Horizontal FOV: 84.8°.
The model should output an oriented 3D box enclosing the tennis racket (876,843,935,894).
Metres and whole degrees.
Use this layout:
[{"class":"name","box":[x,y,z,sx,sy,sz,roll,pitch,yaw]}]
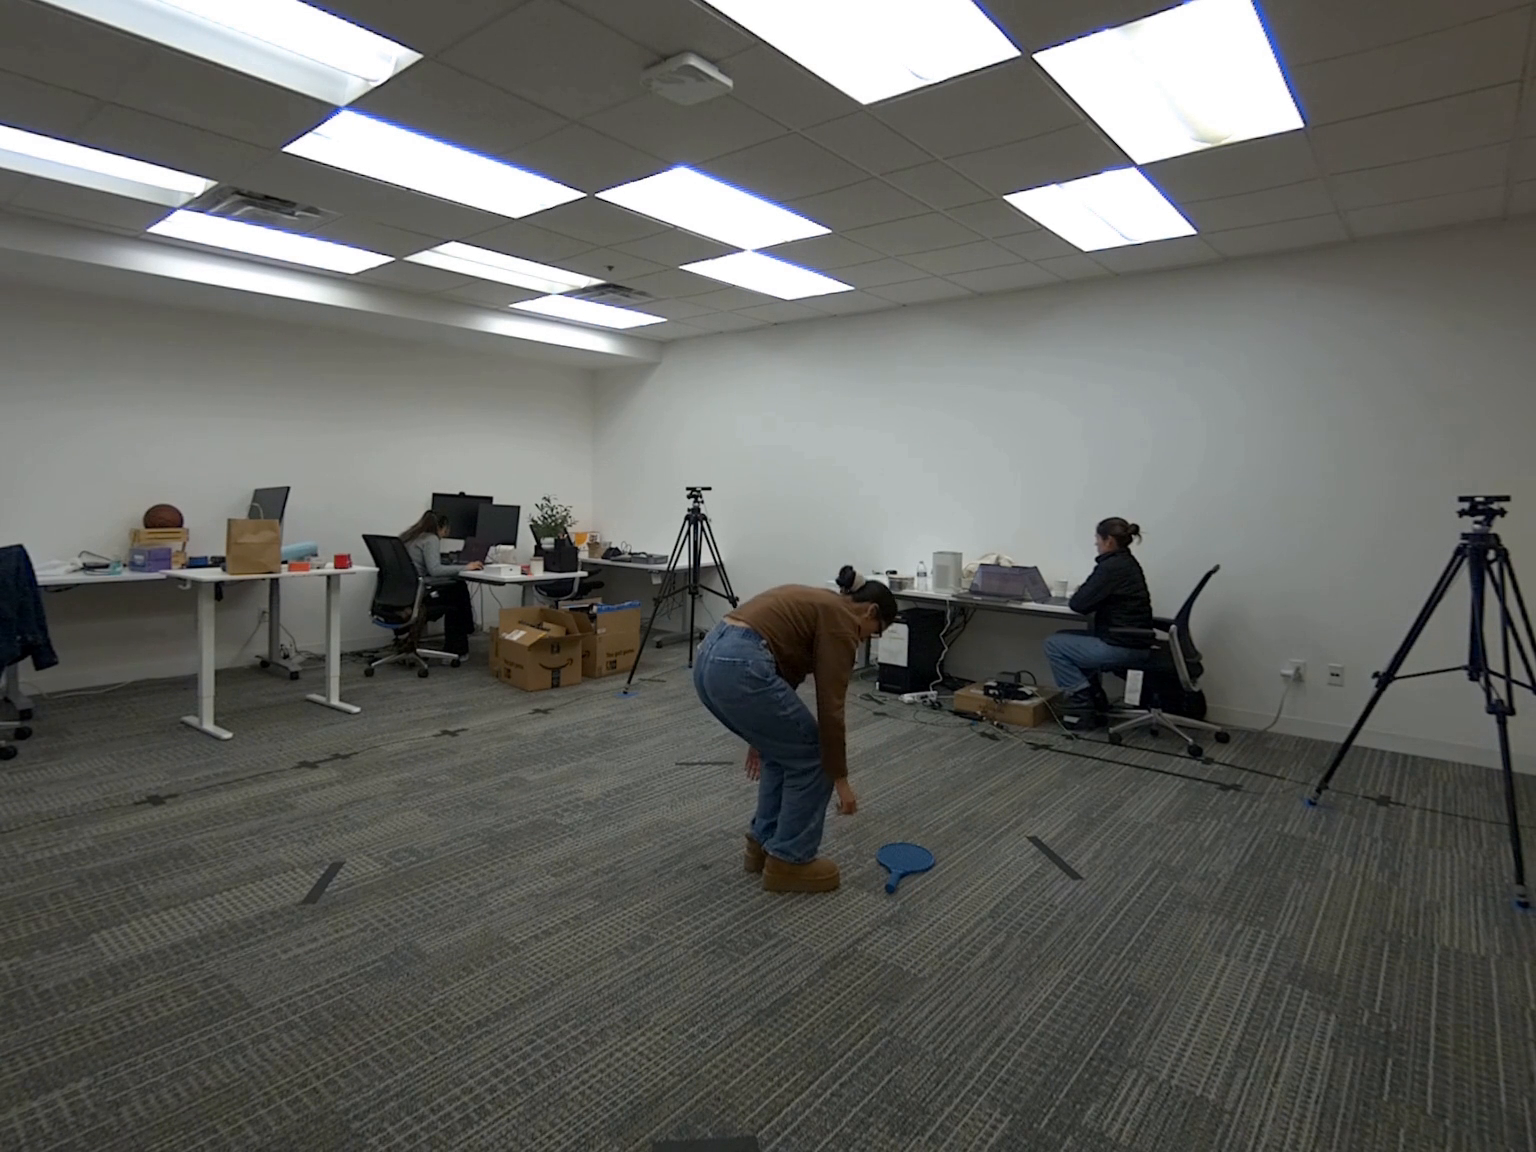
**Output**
[{"class":"tennis racket","box":[0.484,1.066,3.138,0.218,0.031,0.425,4,5,18]}]
